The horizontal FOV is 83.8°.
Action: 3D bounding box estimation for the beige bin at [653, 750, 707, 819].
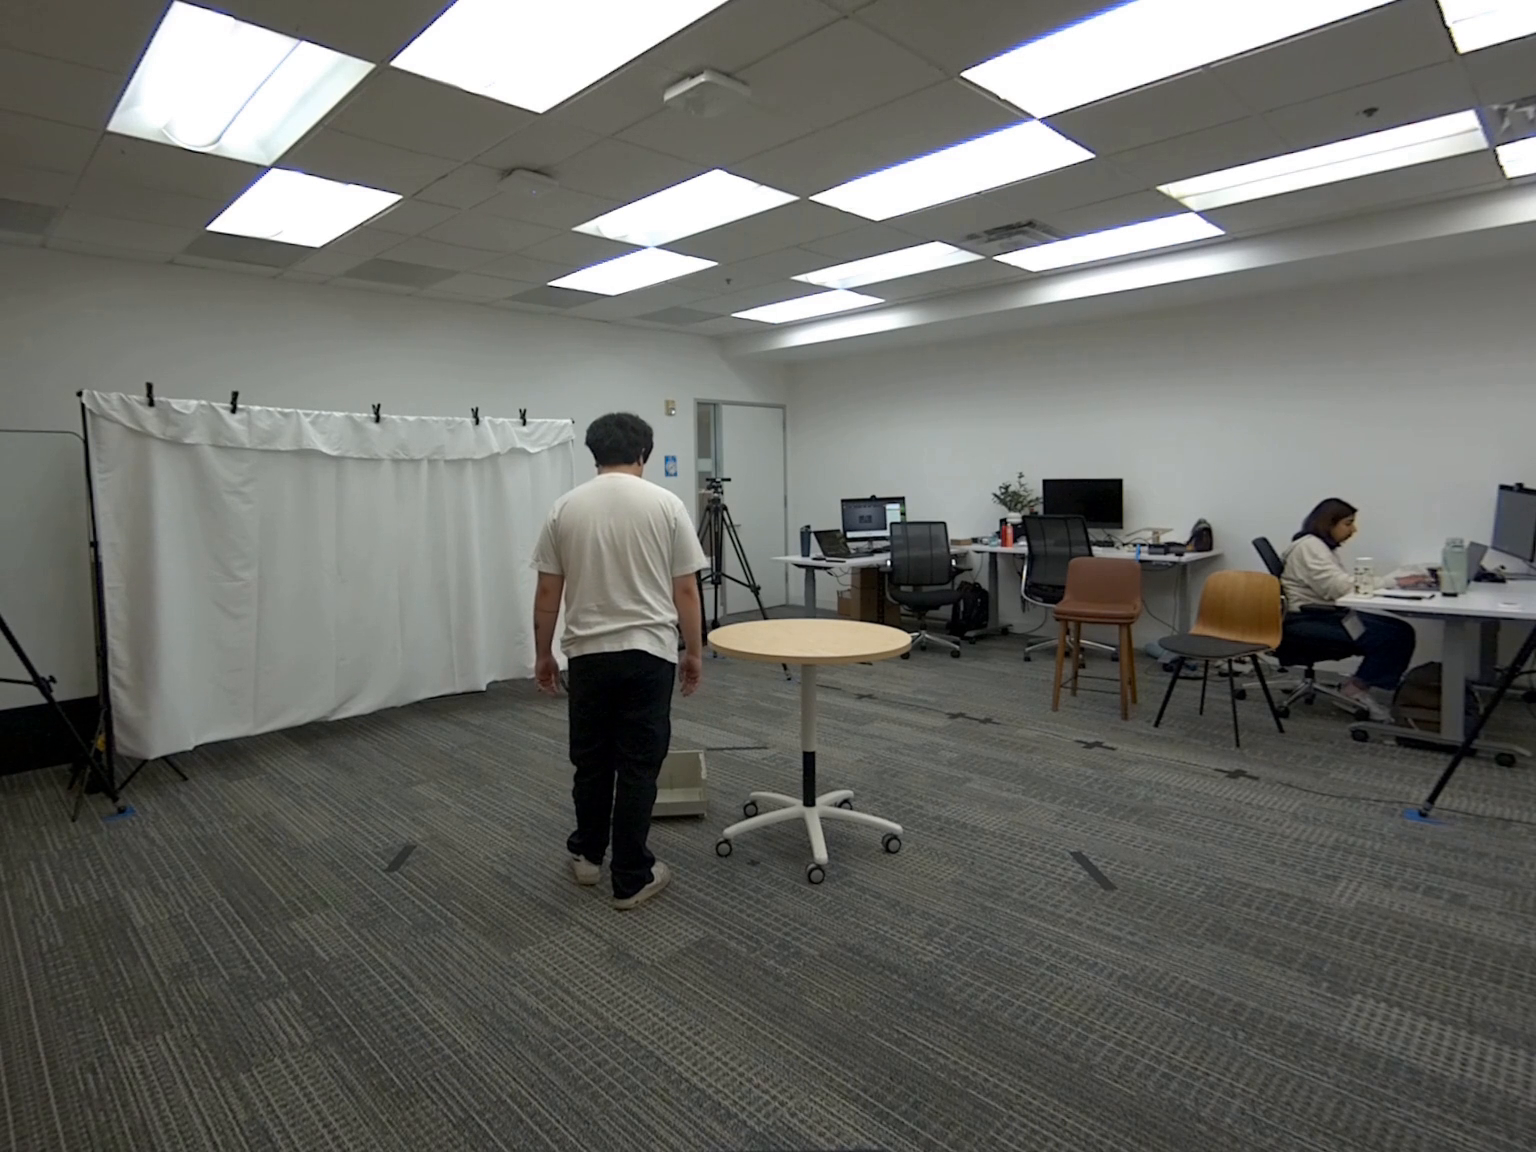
[{"bbox_3d":[-0.474,0.904,3.657,0.420,0.188,0.381,-3,5,-5],"label":"beige bin"}]
